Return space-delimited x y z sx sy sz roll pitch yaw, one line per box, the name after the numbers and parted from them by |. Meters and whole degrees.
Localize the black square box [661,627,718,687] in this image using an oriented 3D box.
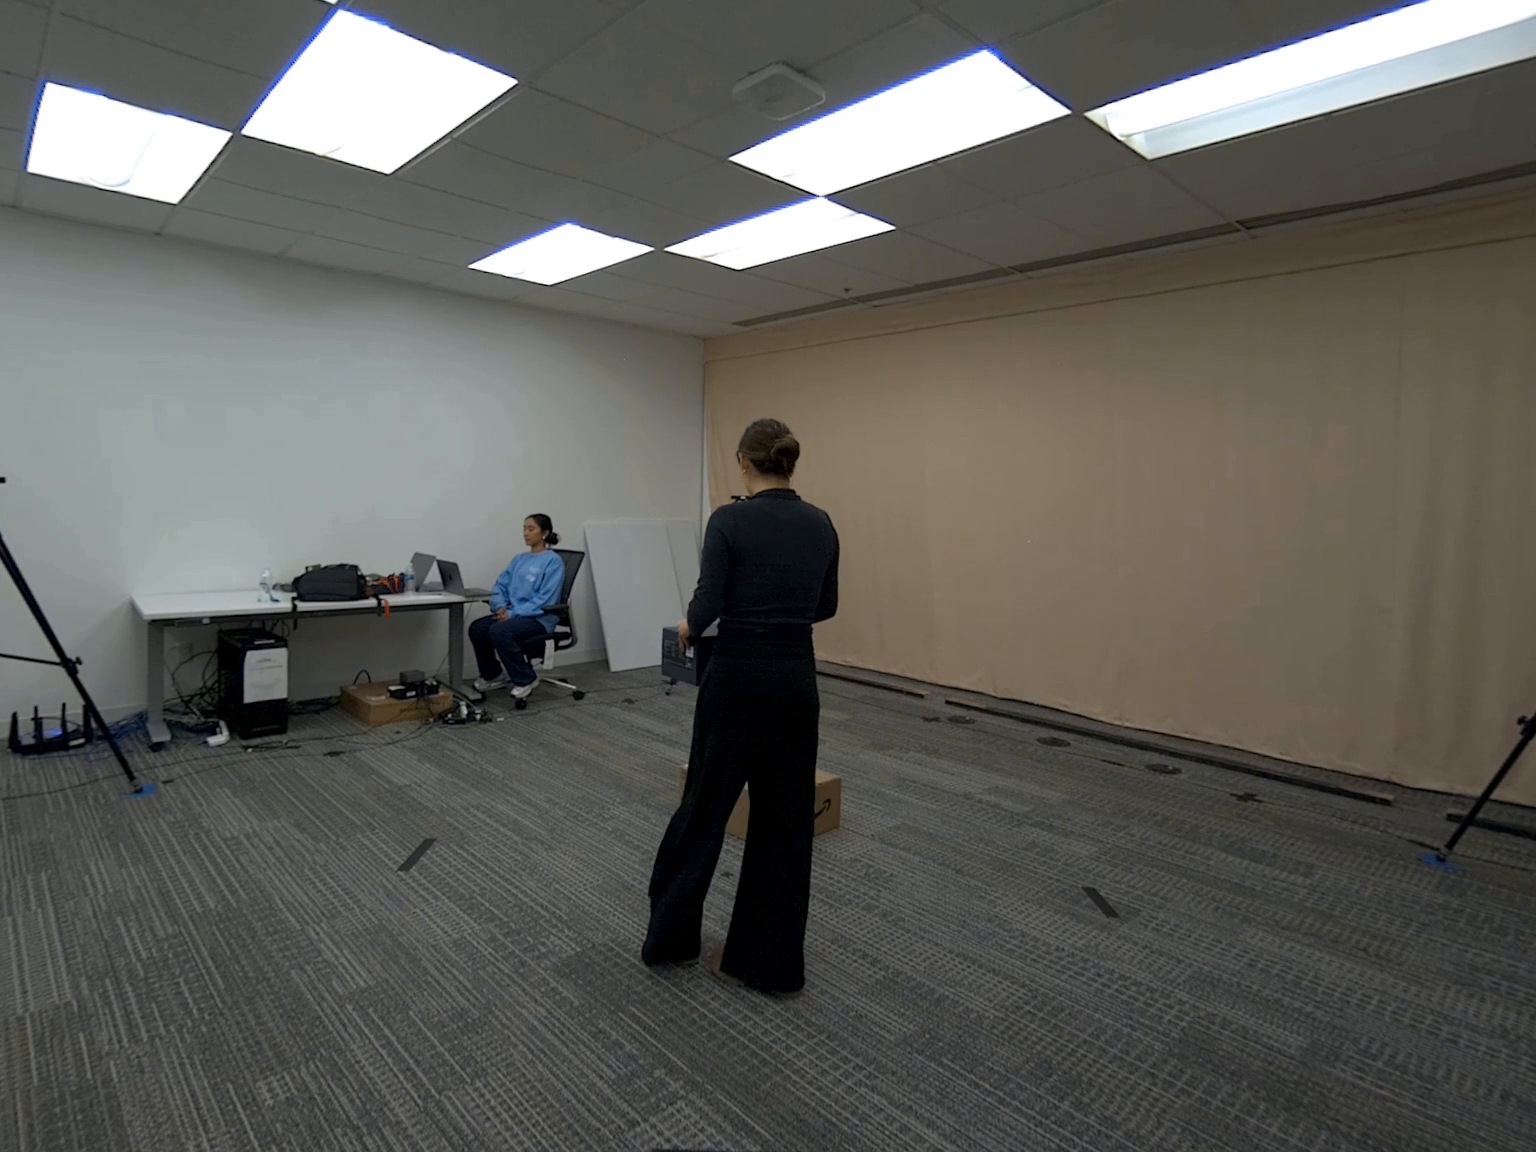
-0.200 0.253 2.715 0.223 0.155 0.222 -1 5 -36 | black square box
